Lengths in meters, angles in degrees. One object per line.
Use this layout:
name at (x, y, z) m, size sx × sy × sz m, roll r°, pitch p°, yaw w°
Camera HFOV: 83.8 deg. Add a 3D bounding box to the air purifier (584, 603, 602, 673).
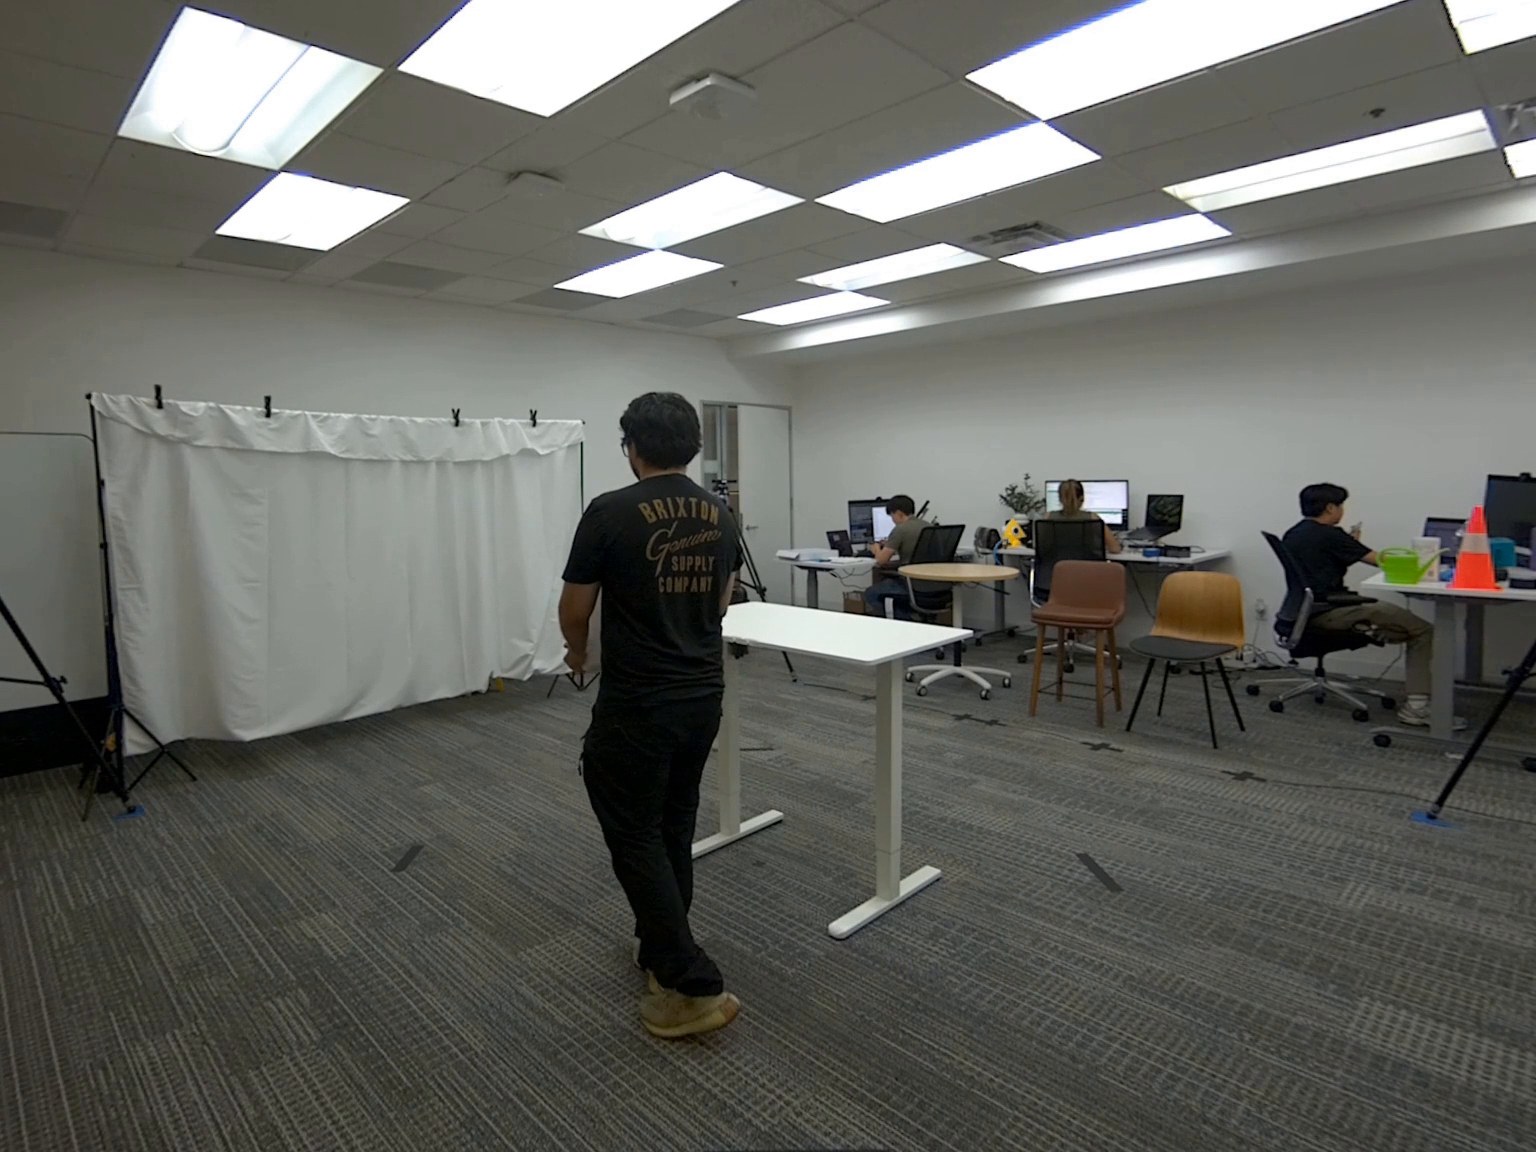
air purifier at (-0.498, 0.149, 2.588) m, size 0.166 × 0.265 × 0.176 m, roll 2°, pitch 1°, yaw -36°
